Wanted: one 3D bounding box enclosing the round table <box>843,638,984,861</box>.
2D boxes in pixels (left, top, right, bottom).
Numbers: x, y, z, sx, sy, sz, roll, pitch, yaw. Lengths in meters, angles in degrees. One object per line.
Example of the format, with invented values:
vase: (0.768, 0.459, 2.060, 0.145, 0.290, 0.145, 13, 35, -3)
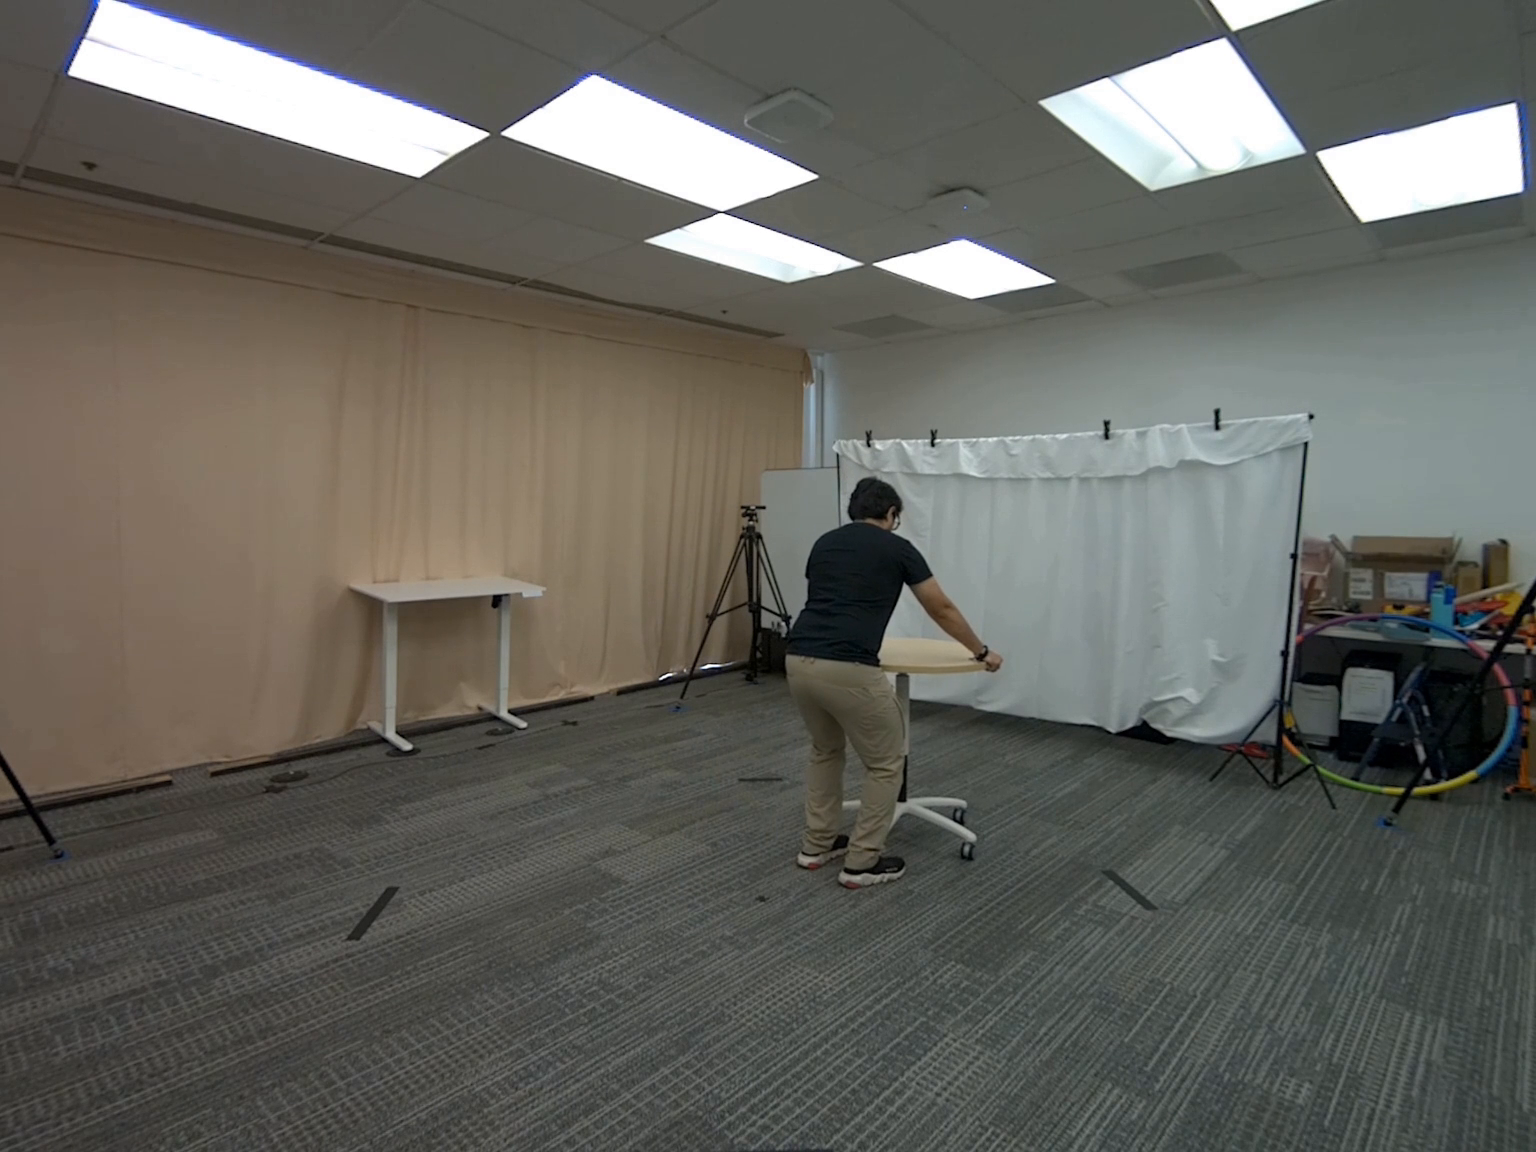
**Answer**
round table: (0.554, 0.694, 3.571, 0.784, 0.785, 0.787, 0, 3, -2)
